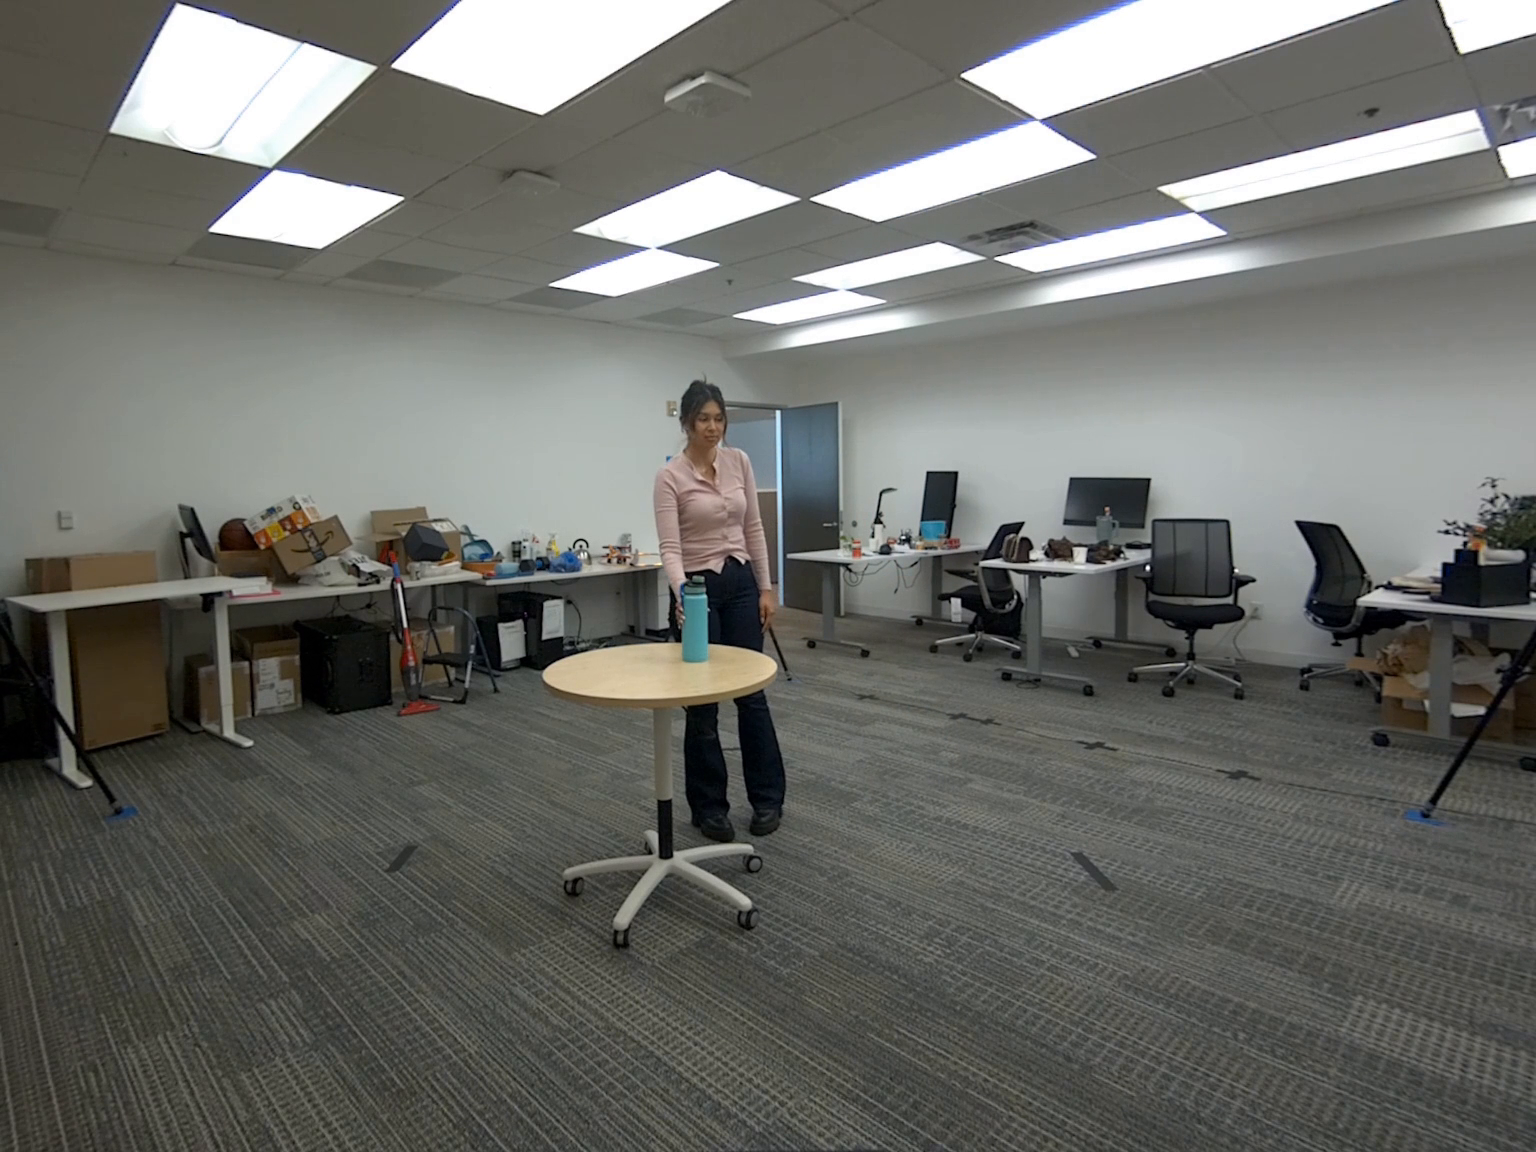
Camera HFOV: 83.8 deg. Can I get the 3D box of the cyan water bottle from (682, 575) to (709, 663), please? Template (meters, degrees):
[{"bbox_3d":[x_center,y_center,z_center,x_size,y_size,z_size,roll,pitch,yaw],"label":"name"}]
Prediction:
[{"bbox_3d":[-0.256,0.149,2.902,0.092,0.282,0.093,-2,5,-1],"label":"cyan water bottle"}]
